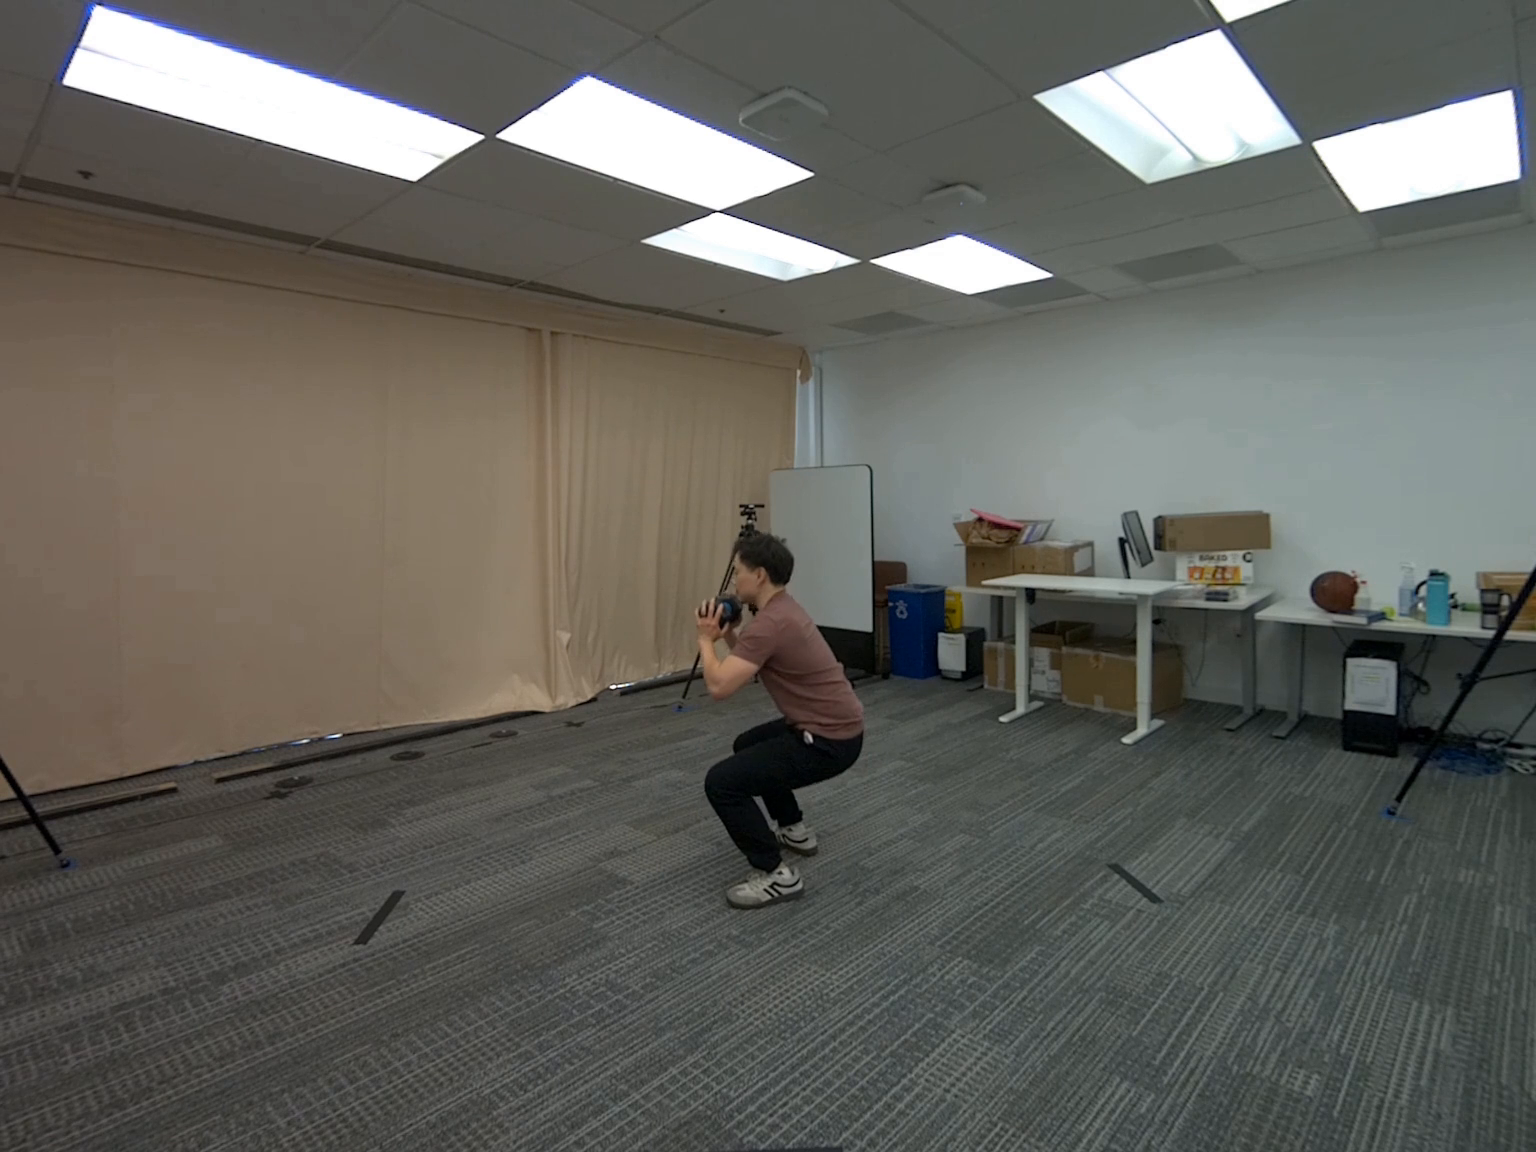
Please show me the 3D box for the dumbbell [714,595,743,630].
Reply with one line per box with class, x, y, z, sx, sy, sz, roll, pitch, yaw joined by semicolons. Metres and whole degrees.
dumbbell;-0.172;0.139;3.230;0.109;0.123;0.291;-34;1;14
